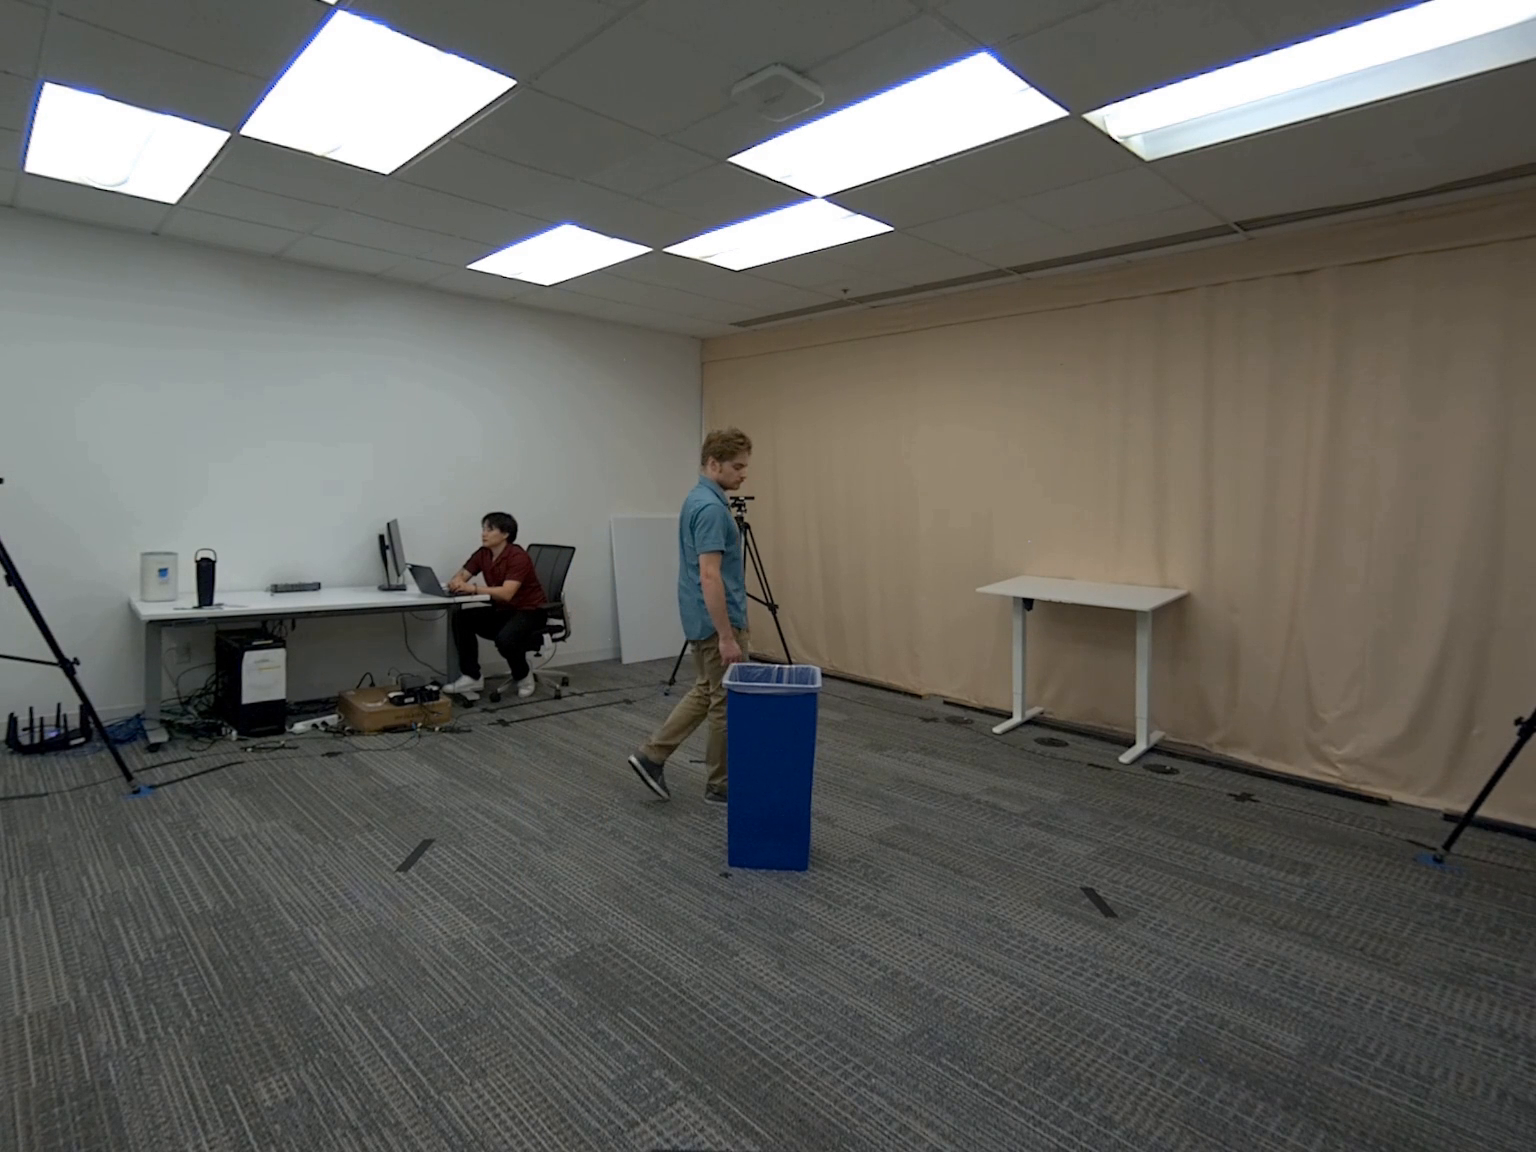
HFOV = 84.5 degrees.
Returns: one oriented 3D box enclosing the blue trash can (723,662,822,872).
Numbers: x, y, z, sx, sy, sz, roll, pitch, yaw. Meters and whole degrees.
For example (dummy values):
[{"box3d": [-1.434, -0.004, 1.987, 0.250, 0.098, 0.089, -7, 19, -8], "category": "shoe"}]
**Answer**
[{"box3d": [-0.003, 0.735, 3.287, 0.375, 0.711, 0.378, 2, 4, 3], "category": "blue trash can"}]
